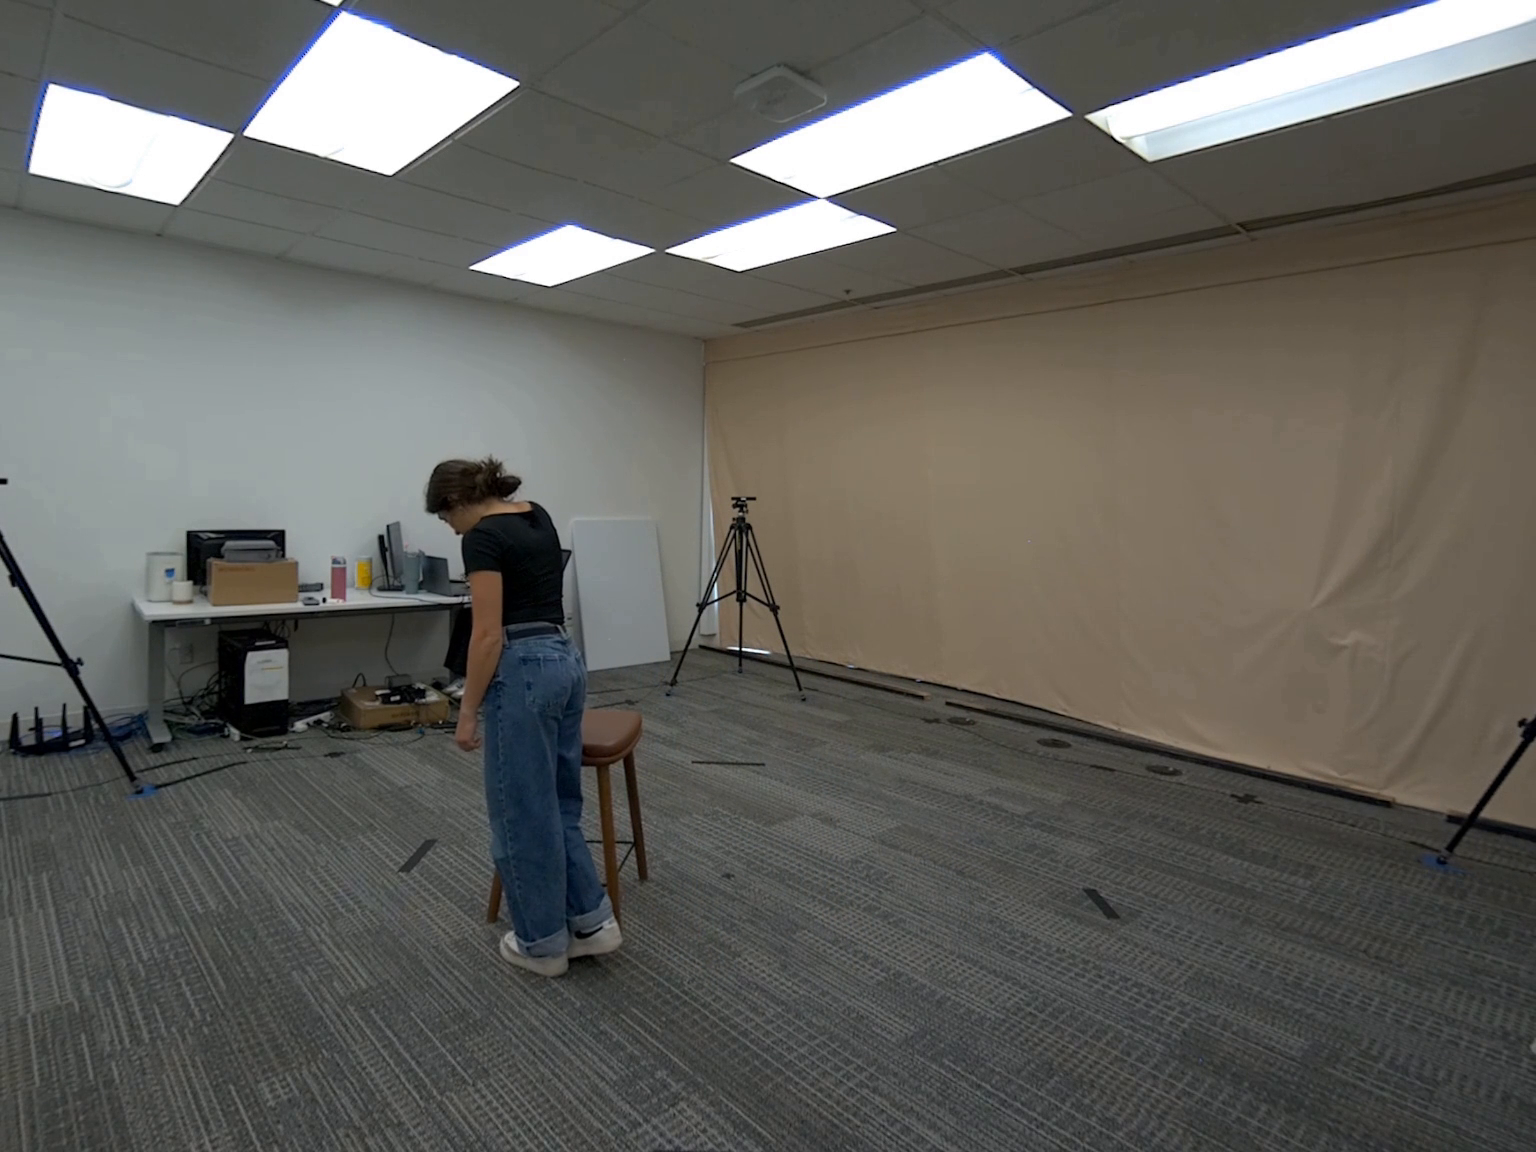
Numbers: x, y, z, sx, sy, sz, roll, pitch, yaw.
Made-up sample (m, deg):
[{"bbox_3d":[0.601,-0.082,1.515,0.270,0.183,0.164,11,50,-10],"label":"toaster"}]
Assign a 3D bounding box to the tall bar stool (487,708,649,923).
[{"bbox_3d":[-0.686,0.682,2.871,0.470,0.887,0.455,-1,4,6],"label":"tall bar stool"}]
